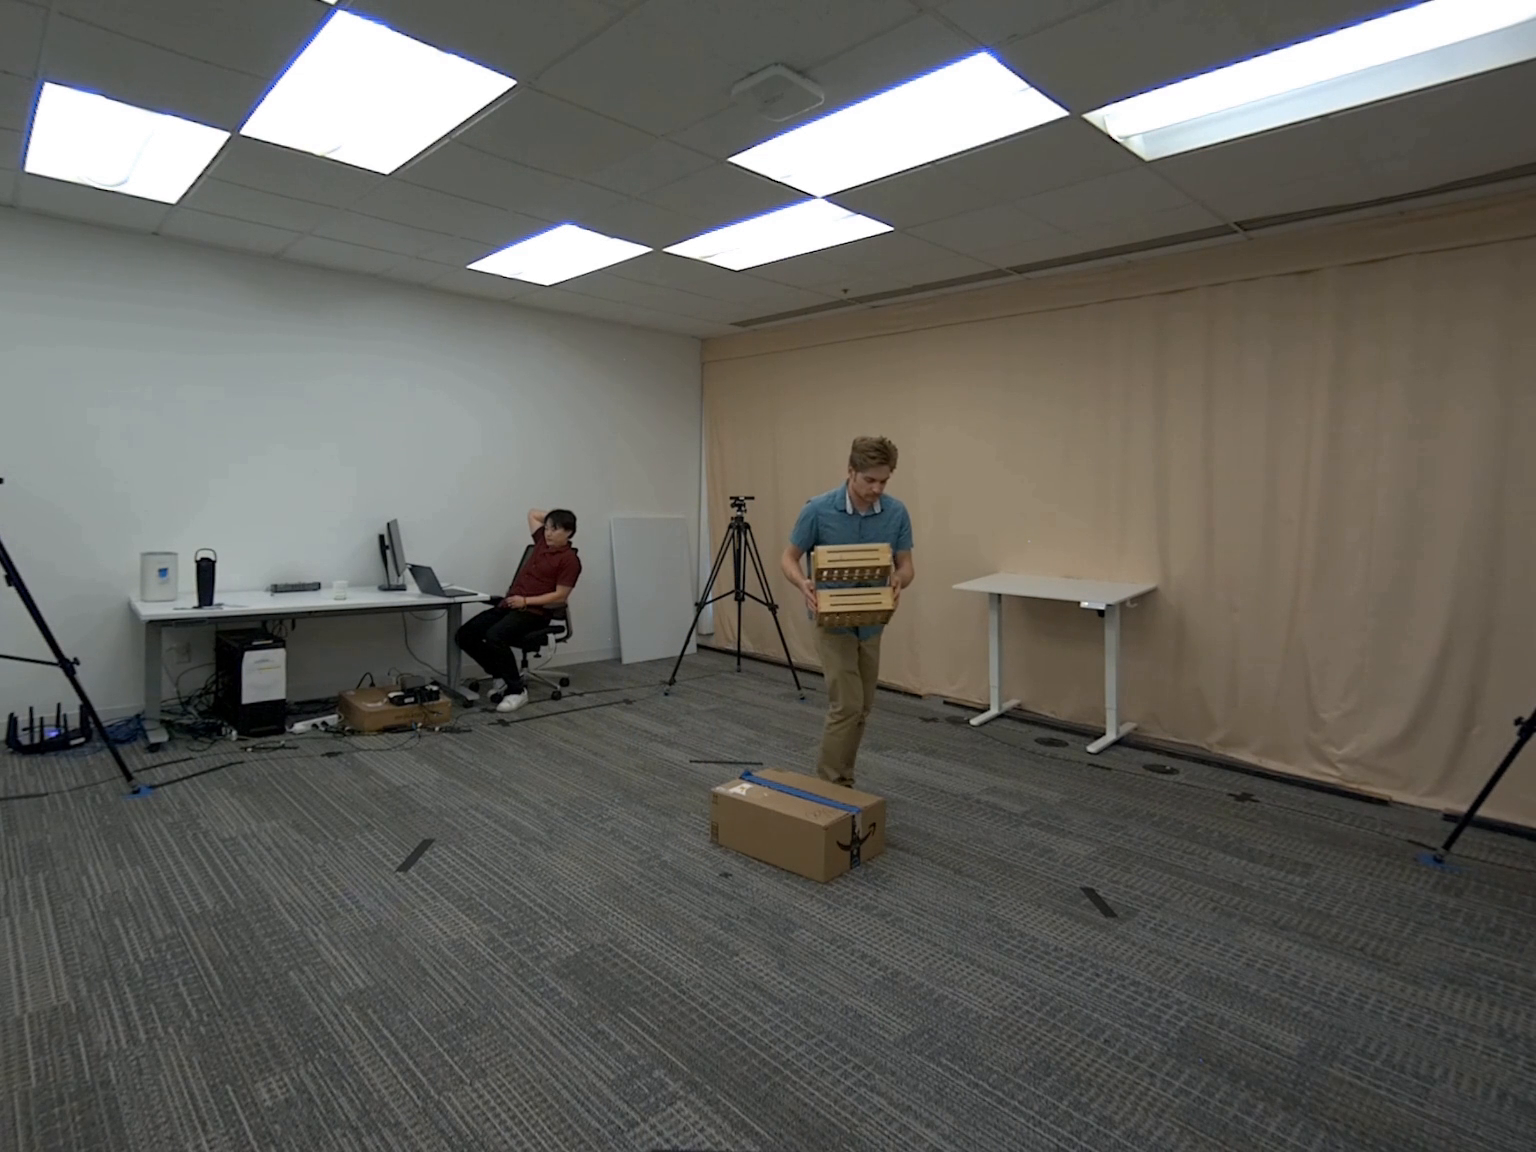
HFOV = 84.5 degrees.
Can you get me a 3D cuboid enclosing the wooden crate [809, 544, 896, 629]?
[{"bbox_3d":[0.337,0.043,3.450,0.325,0.277,0.297,-2,-19,2],"label":"wooden crate"}]
